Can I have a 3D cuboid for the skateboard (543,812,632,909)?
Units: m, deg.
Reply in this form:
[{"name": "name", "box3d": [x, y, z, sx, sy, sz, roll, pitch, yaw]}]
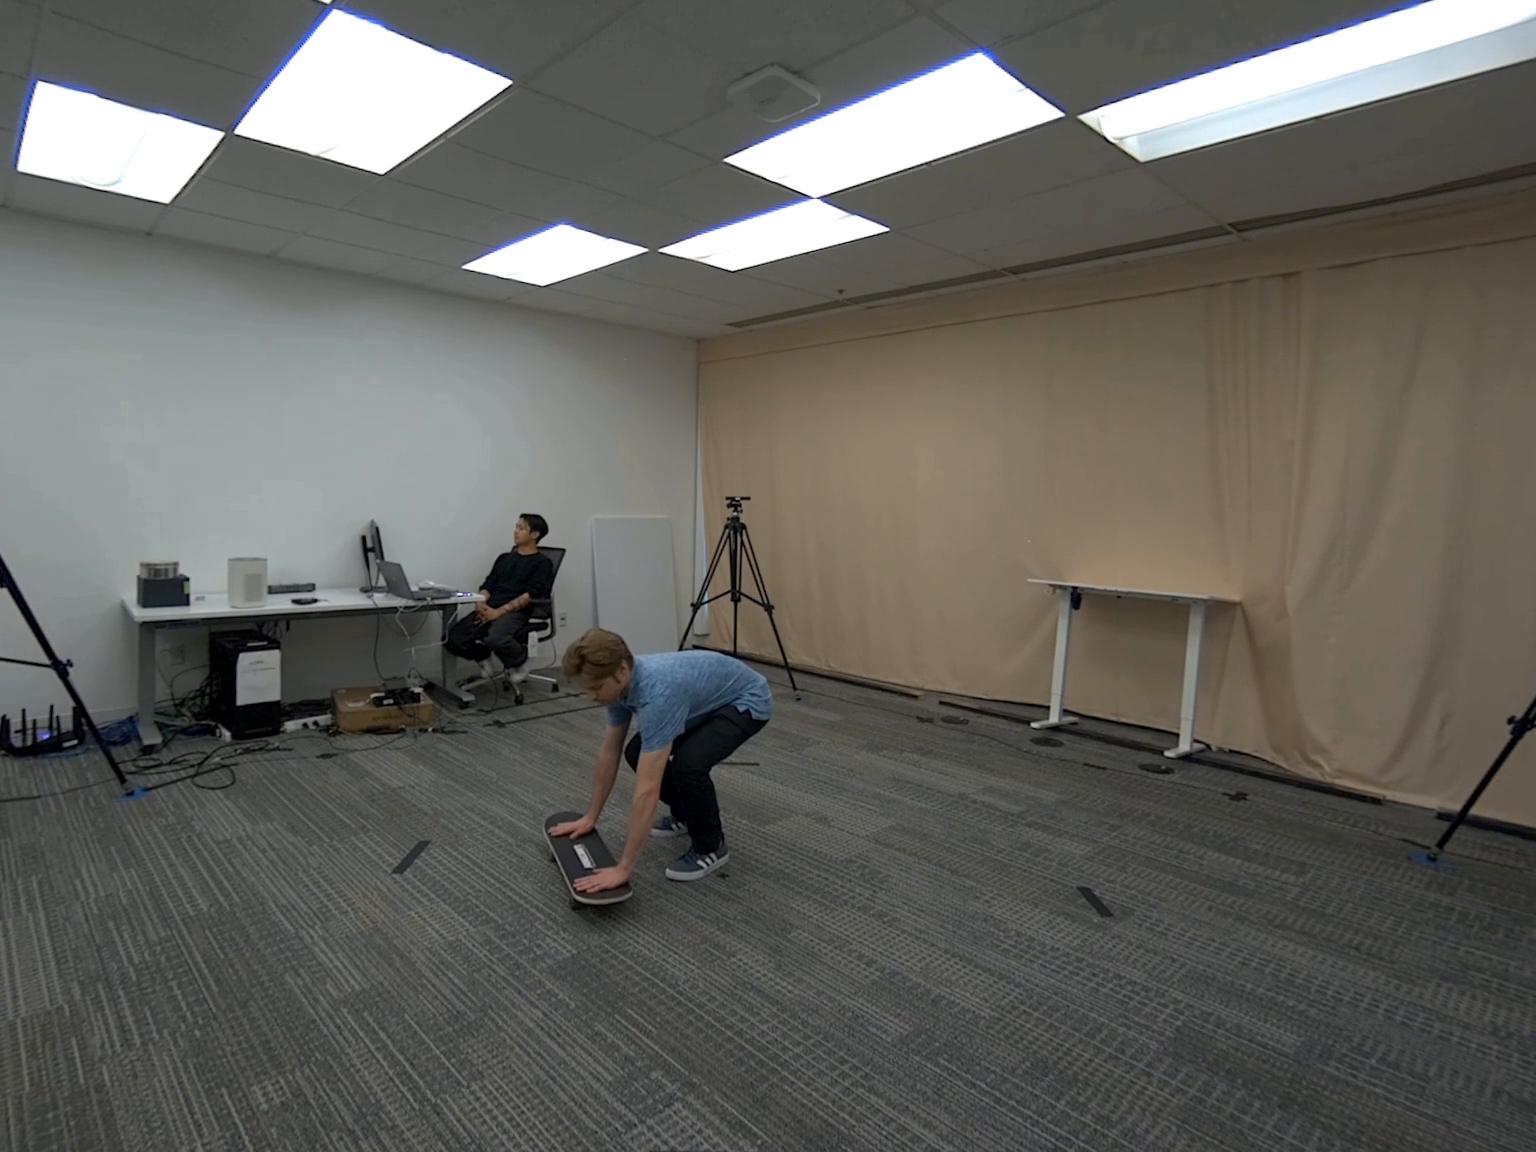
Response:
[{"name": "skateboard", "box3d": [-0.663, 1.041, 3.042, 0.190, 0.110, 0.801, -2, 6, -24]}]
